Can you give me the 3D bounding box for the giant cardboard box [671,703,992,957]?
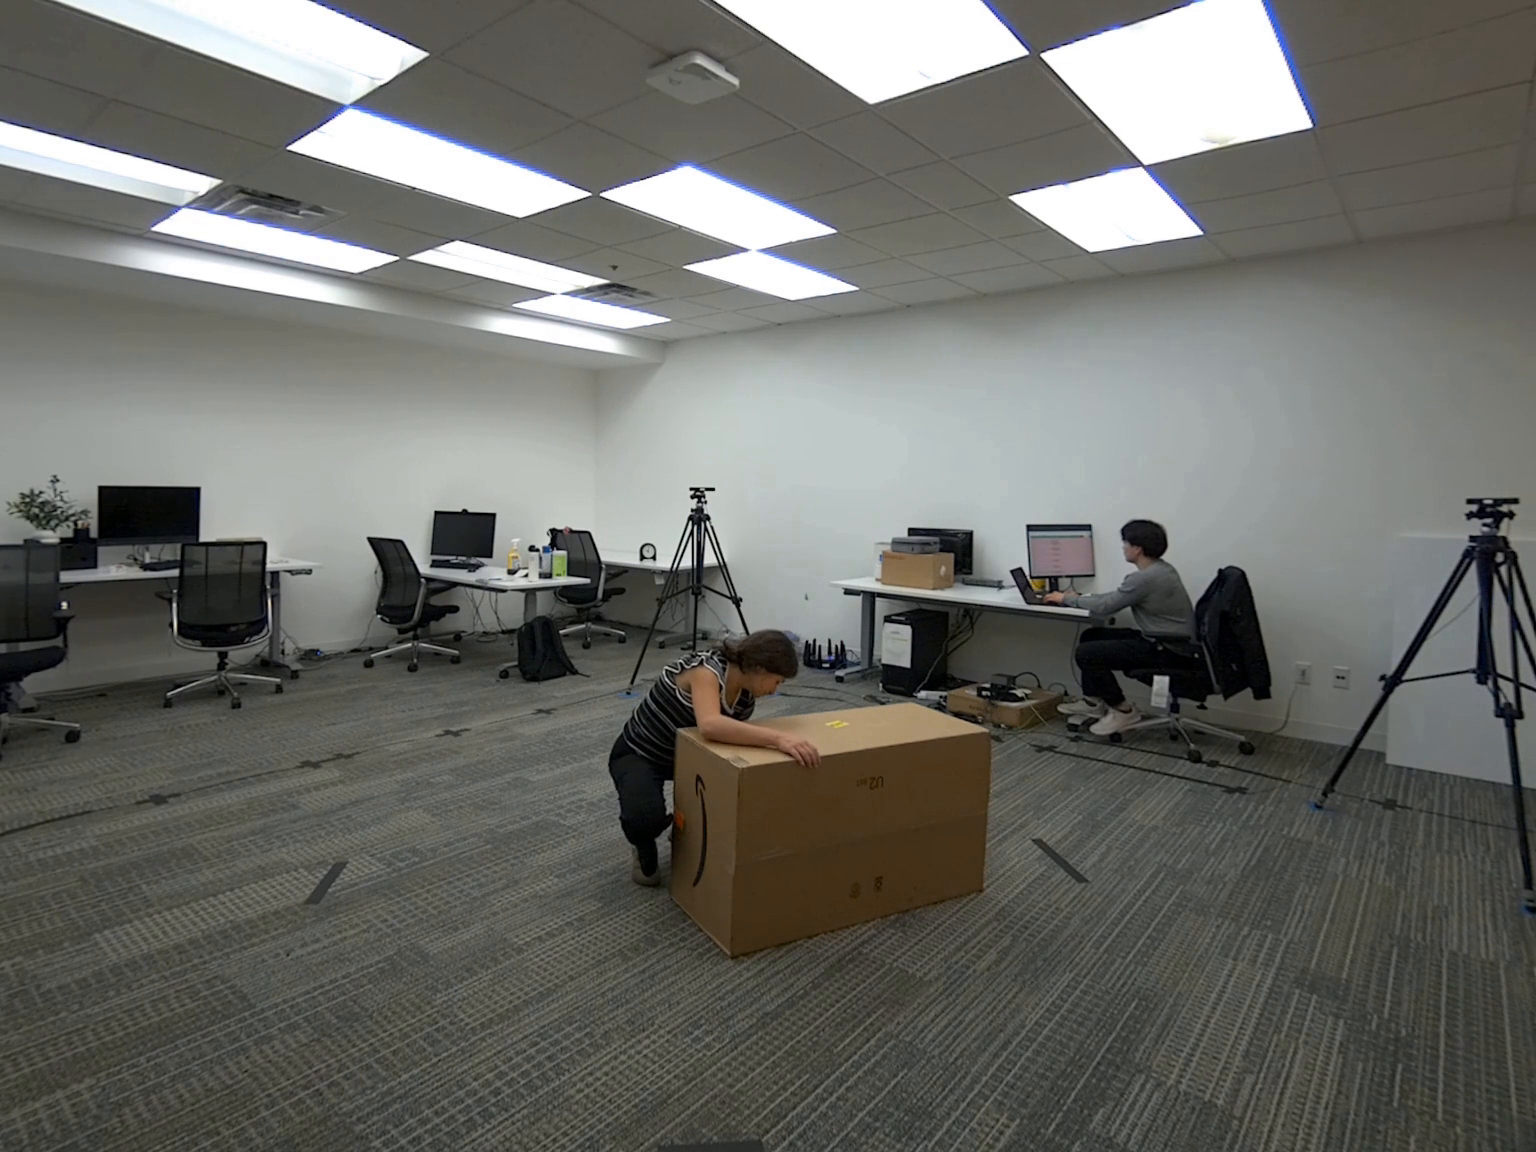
[{"bbox_3d":[0.221,0.807,2.914,0.999,0.575,0.439,-1,5,-29],"label":"giant cardboard box"}]
